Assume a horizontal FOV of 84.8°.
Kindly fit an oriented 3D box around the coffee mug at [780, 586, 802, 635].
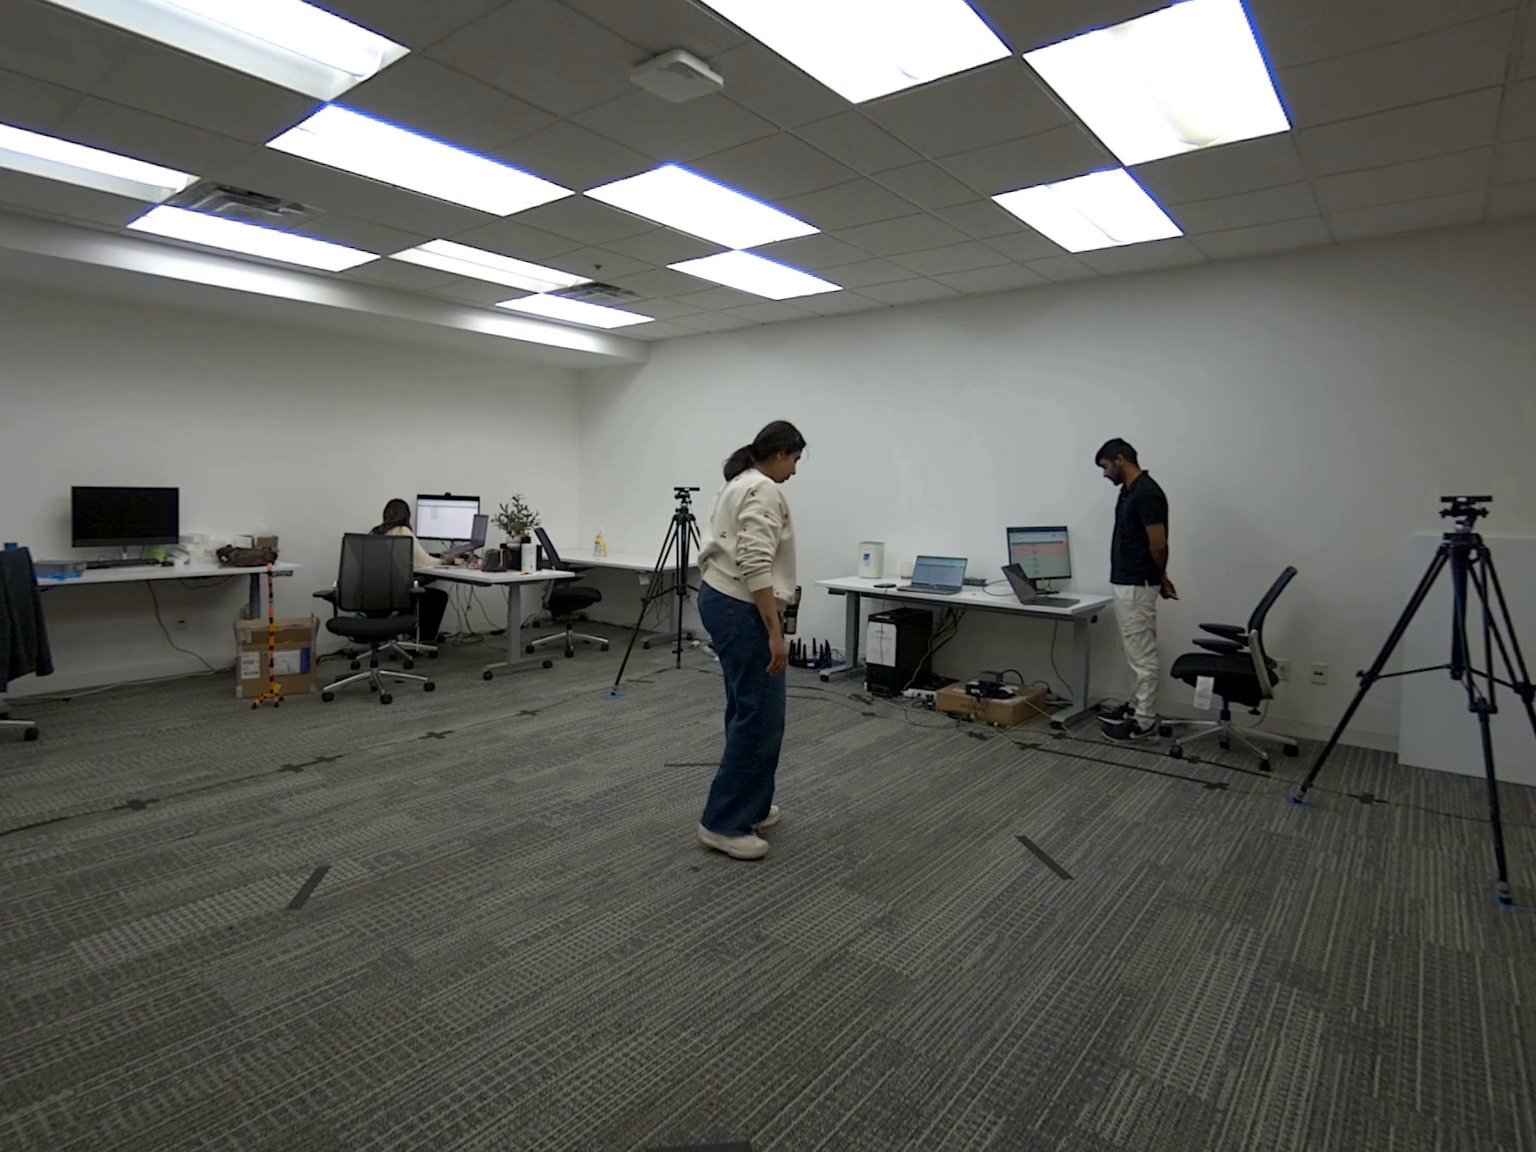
[{"bbox_3d":[0.091,0.145,3.662,0.091,0.202,0.119,5,7,37],"label":"coffee mug"}]
